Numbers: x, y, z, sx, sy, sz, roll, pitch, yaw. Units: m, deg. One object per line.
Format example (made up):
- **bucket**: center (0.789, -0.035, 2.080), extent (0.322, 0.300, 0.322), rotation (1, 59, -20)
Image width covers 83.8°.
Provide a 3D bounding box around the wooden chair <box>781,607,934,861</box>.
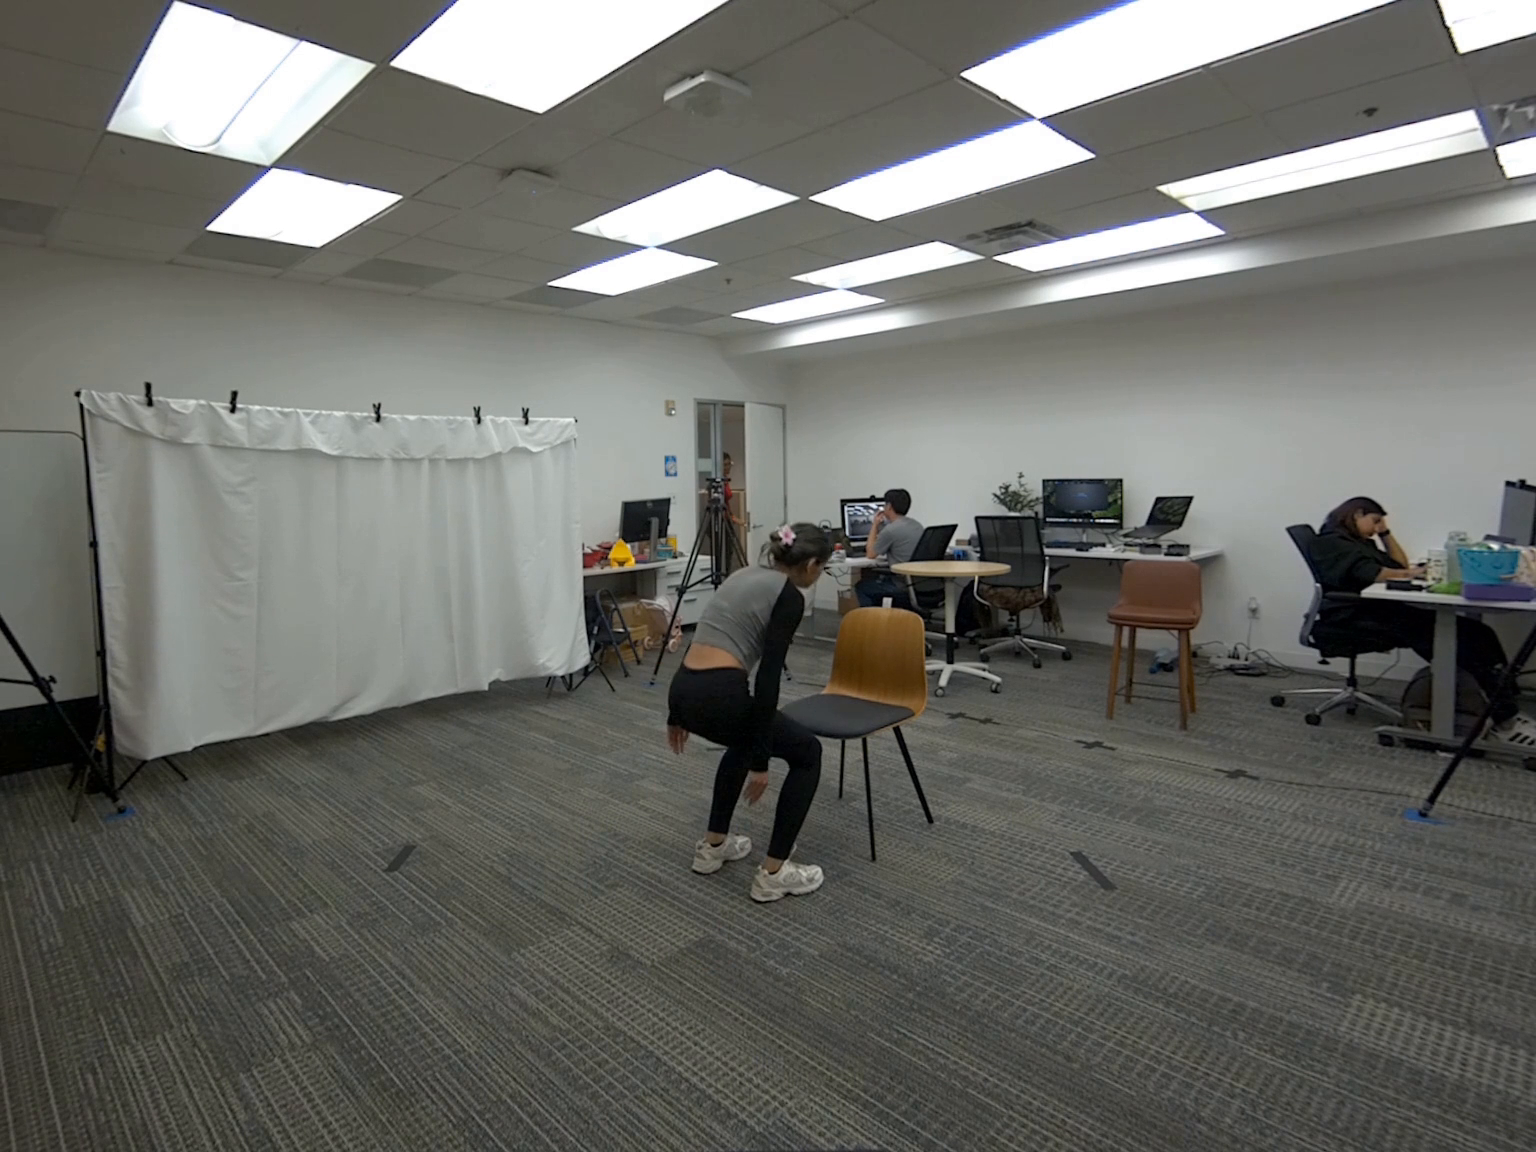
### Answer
- **wooden chair**: center (0.340, 0.576, 3.376), extent (0.492, 0.877, 0.508), rotation (3, 1, 40)
